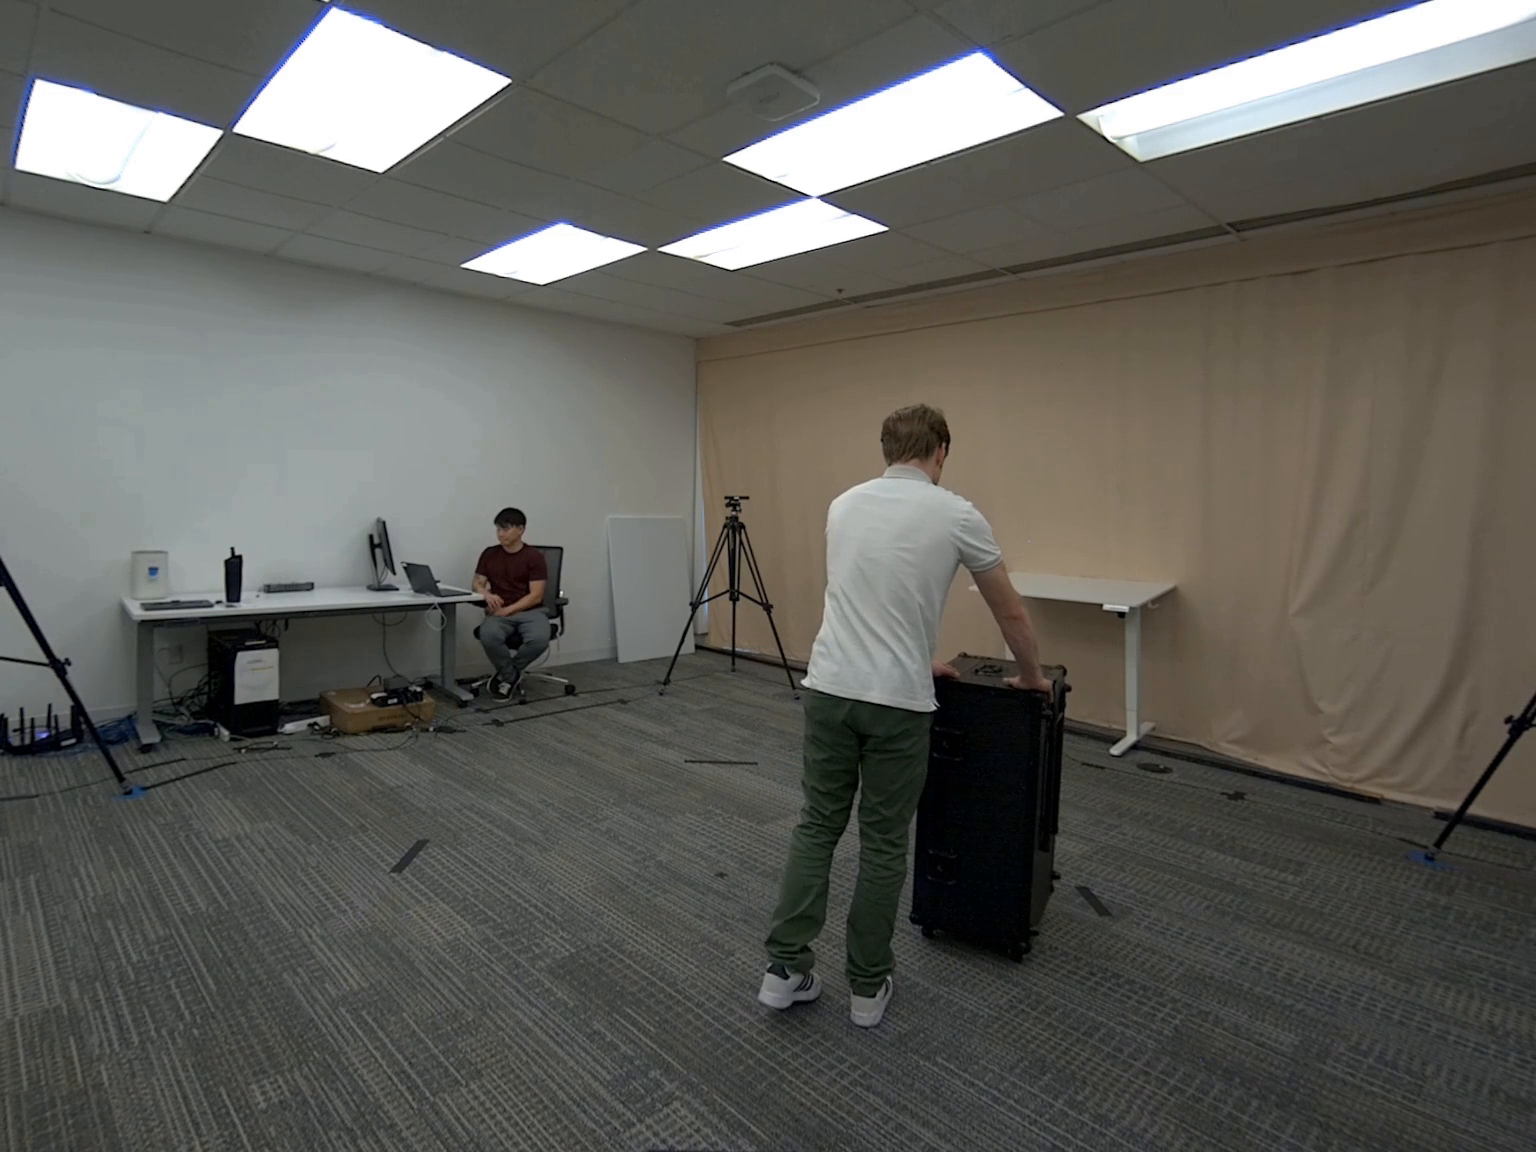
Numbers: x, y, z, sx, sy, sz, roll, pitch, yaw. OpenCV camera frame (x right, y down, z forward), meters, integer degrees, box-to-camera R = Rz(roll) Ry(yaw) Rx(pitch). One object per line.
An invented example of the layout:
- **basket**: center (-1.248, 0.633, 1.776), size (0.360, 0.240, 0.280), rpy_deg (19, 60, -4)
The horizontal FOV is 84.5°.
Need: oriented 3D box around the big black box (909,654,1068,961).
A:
- **big black box**: center (0.728, 0.734, 2.749), size (0.393, 0.866, 0.514), rpy_deg (4, 4, 27)
